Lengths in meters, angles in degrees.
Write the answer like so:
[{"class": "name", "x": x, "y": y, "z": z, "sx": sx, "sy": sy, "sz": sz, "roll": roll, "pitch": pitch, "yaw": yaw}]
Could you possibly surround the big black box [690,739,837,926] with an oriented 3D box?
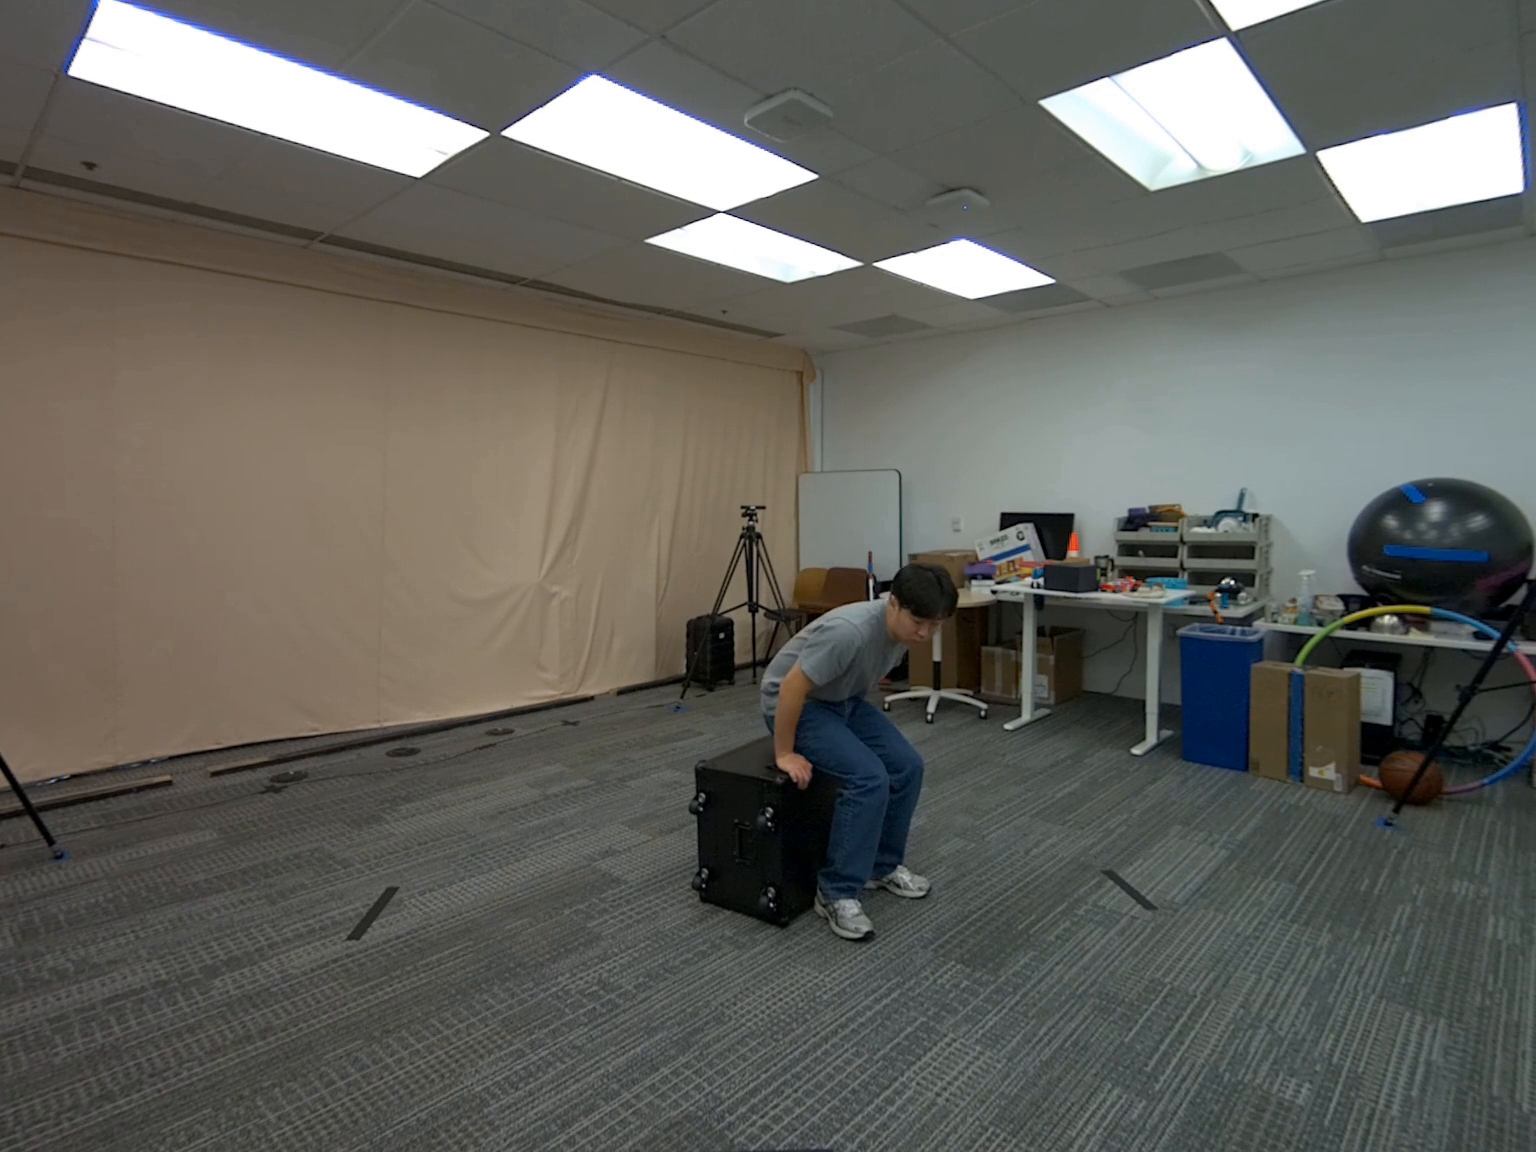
[{"class": "big black box", "x": 0.082, "y": 0.872, "z": 3.149, "sx": 0.408, "sy": 0.520, "sz": 0.838, "roll": 0, "pitch": 4, "yaw": 33}]
